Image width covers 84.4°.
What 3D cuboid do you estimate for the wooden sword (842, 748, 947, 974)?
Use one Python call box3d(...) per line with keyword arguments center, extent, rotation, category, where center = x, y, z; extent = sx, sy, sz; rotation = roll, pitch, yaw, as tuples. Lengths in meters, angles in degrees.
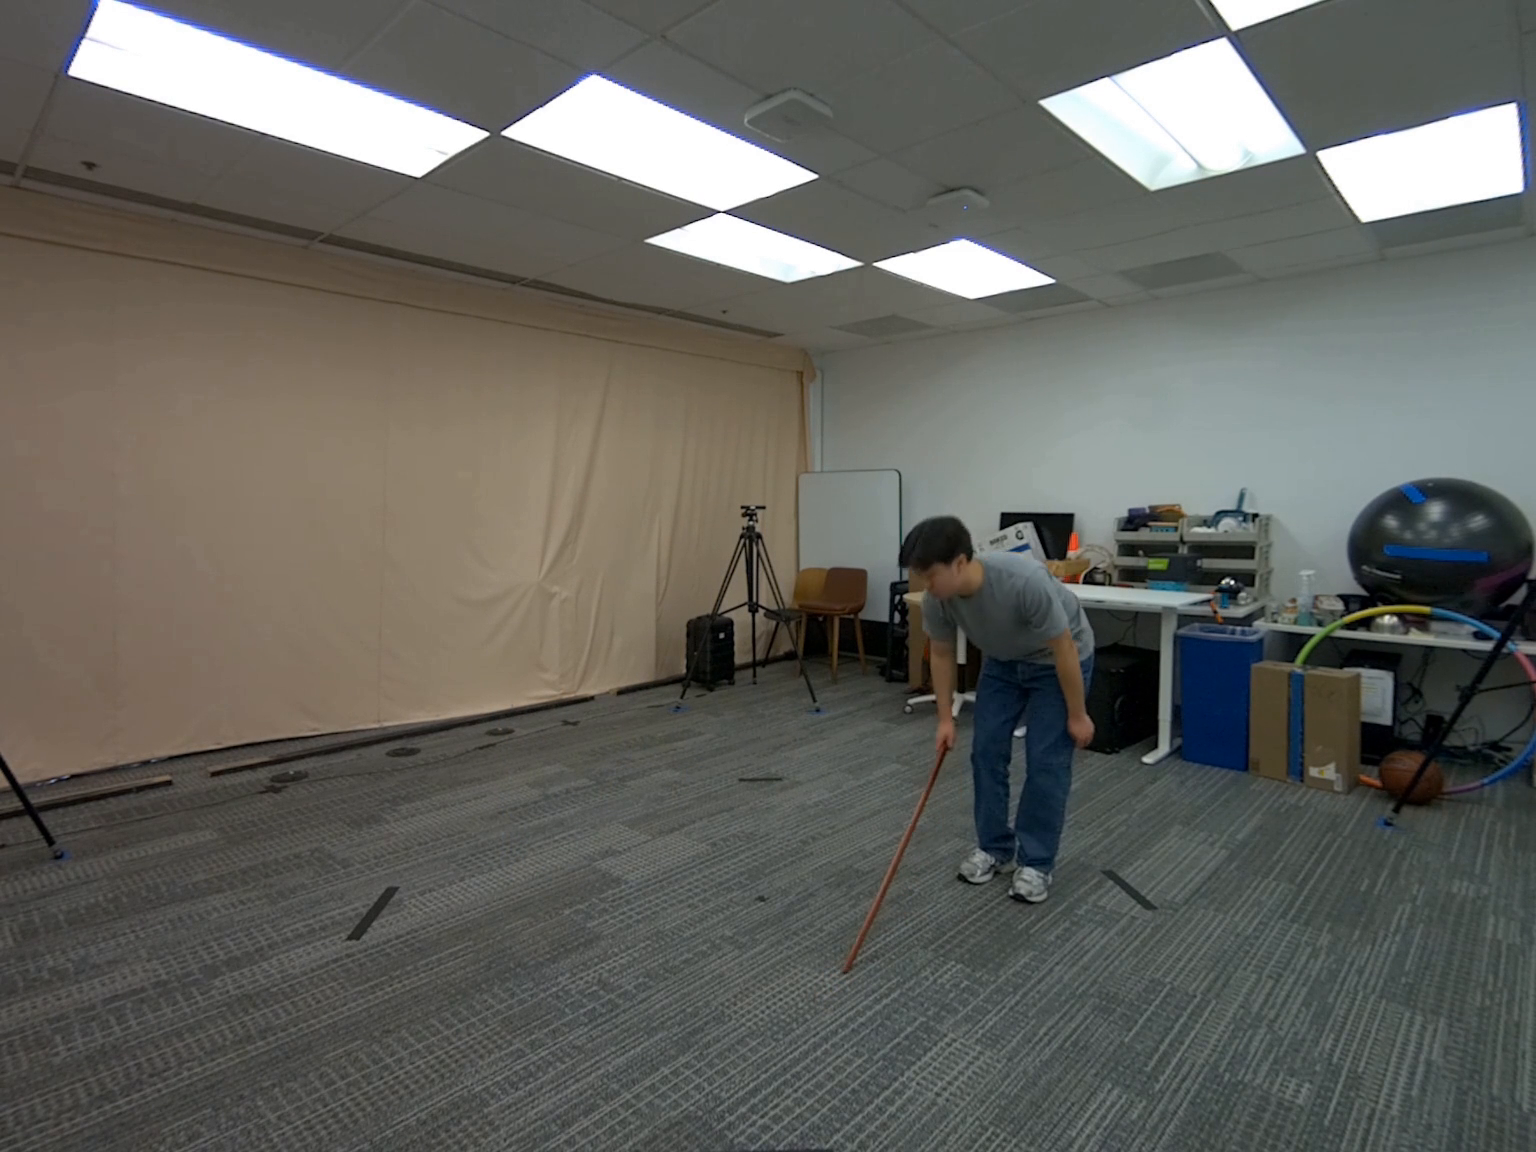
box3d(center=(0.470, 0.920, 2.842), extent=(1.015, 0.024, 0.052), rotation=(-46, 4, -41), category="wooden sword")
